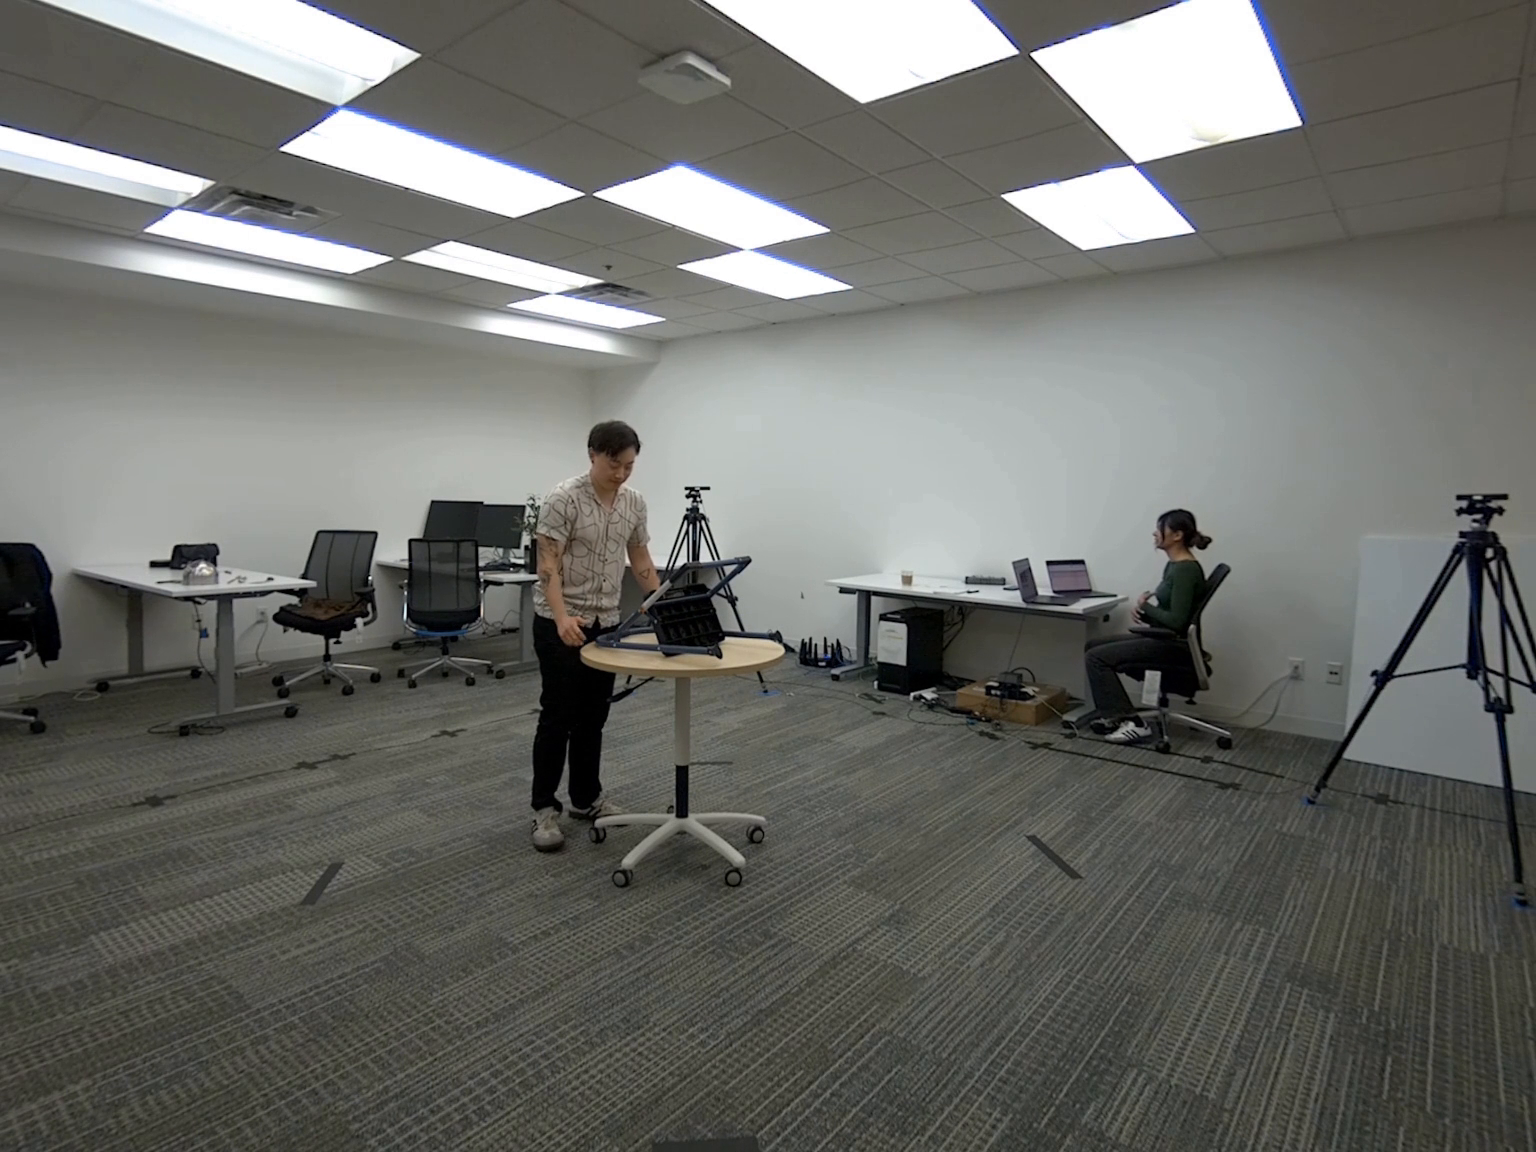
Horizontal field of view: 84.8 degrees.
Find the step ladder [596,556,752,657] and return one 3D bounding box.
[{"bbox_3d":[-0.362,0.201,3.219,0.615,0.354,0.419,-25,-11,32],"label":"step ladder"}]
